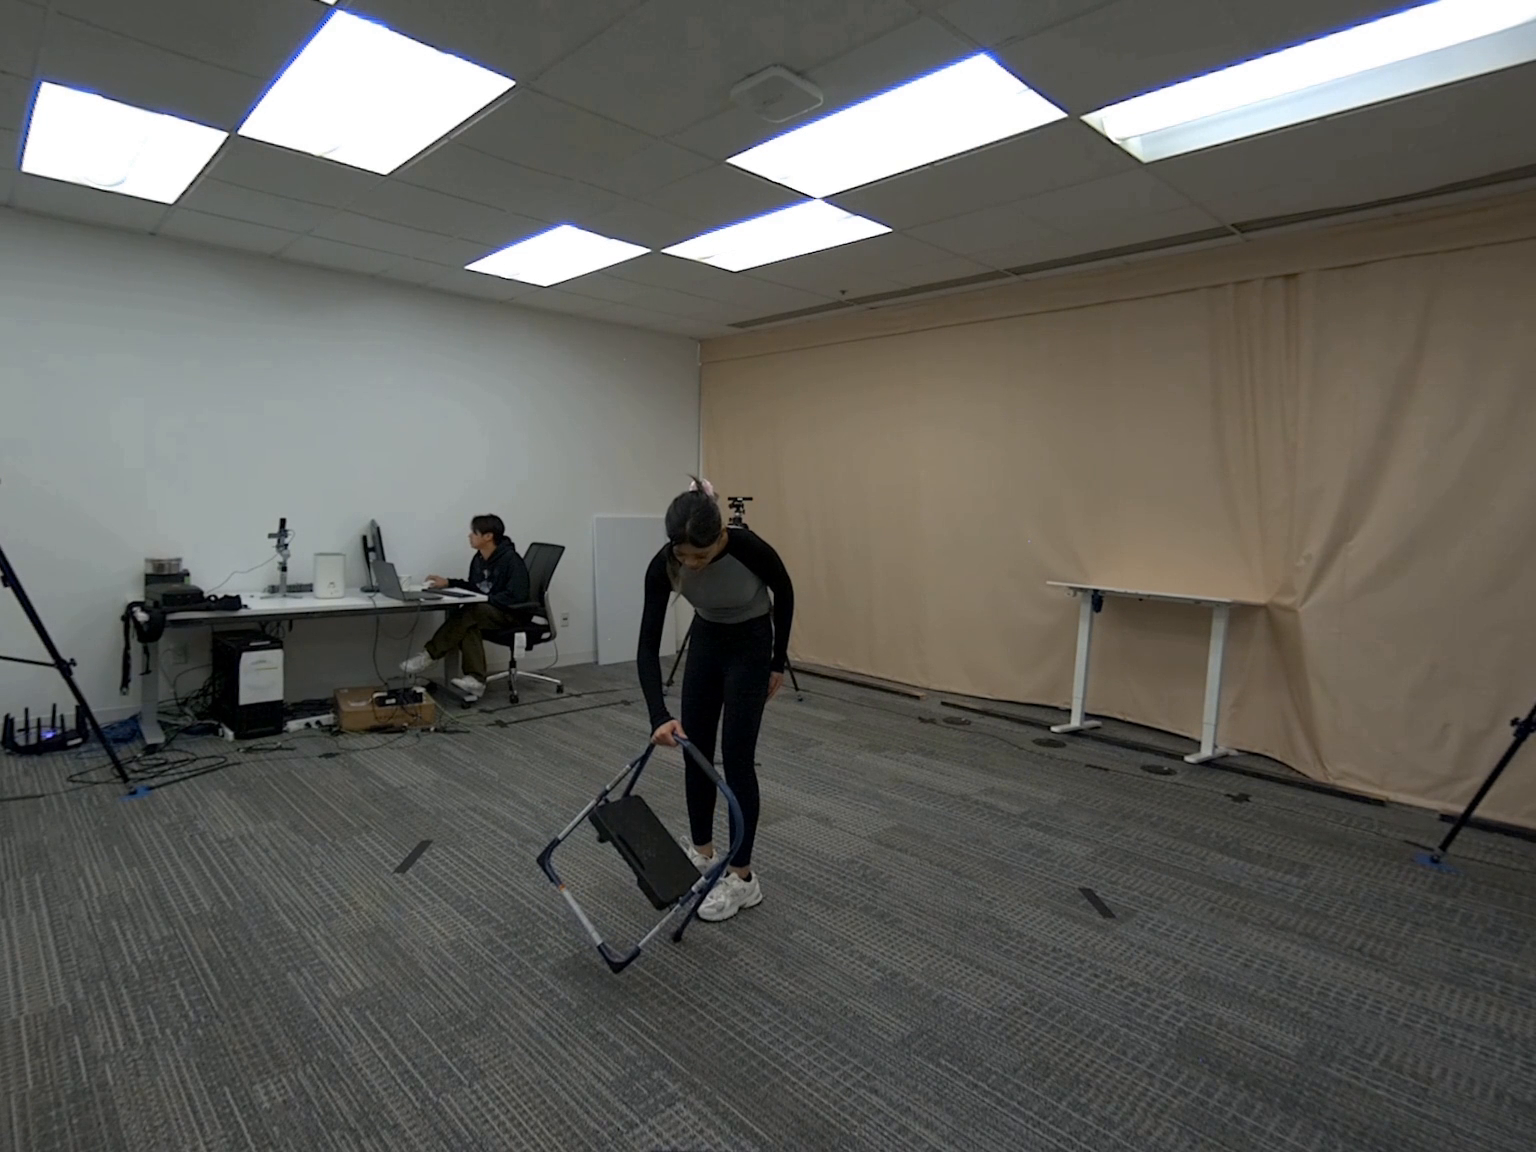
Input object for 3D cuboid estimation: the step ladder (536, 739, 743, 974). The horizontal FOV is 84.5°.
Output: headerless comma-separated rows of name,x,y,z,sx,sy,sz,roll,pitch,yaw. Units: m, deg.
step ladder,-0.323,0.773,2.512,0.441,0.605,0.341,44,17,23
